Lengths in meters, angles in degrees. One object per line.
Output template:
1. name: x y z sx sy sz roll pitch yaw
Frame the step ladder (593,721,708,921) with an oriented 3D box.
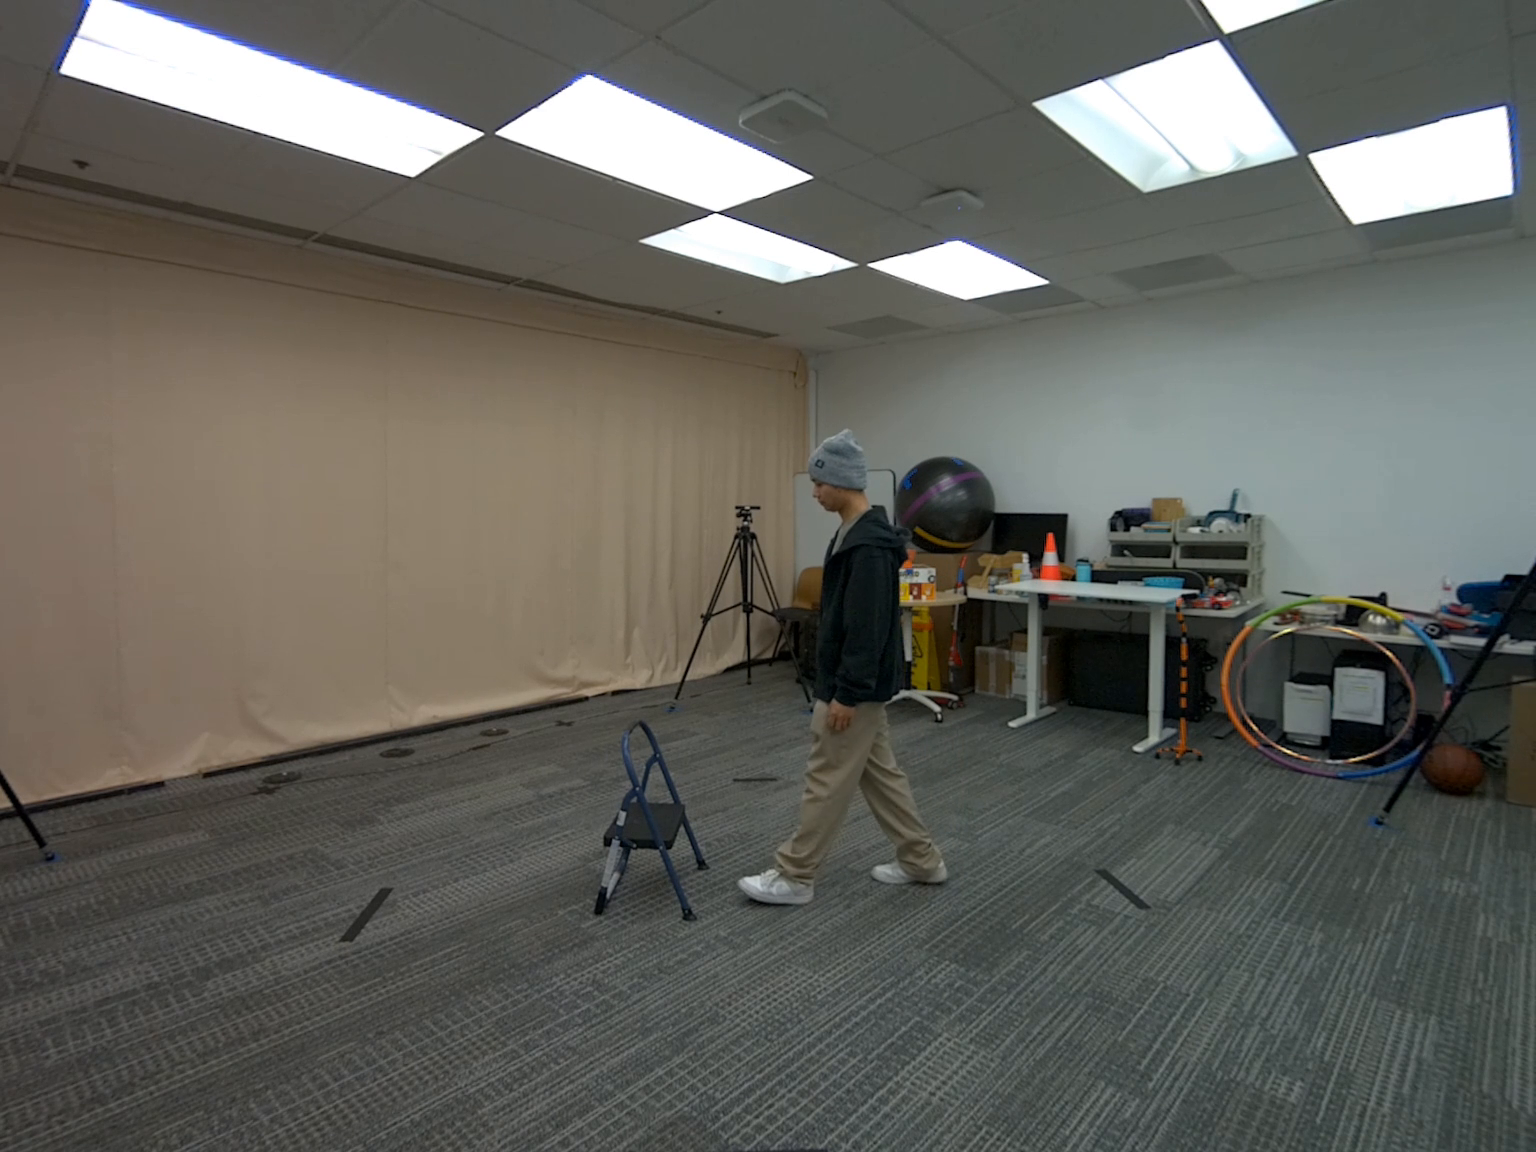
1. step ladder: -0.414 0.844 3.047 0.351 0.605 0.429 0 3 3
